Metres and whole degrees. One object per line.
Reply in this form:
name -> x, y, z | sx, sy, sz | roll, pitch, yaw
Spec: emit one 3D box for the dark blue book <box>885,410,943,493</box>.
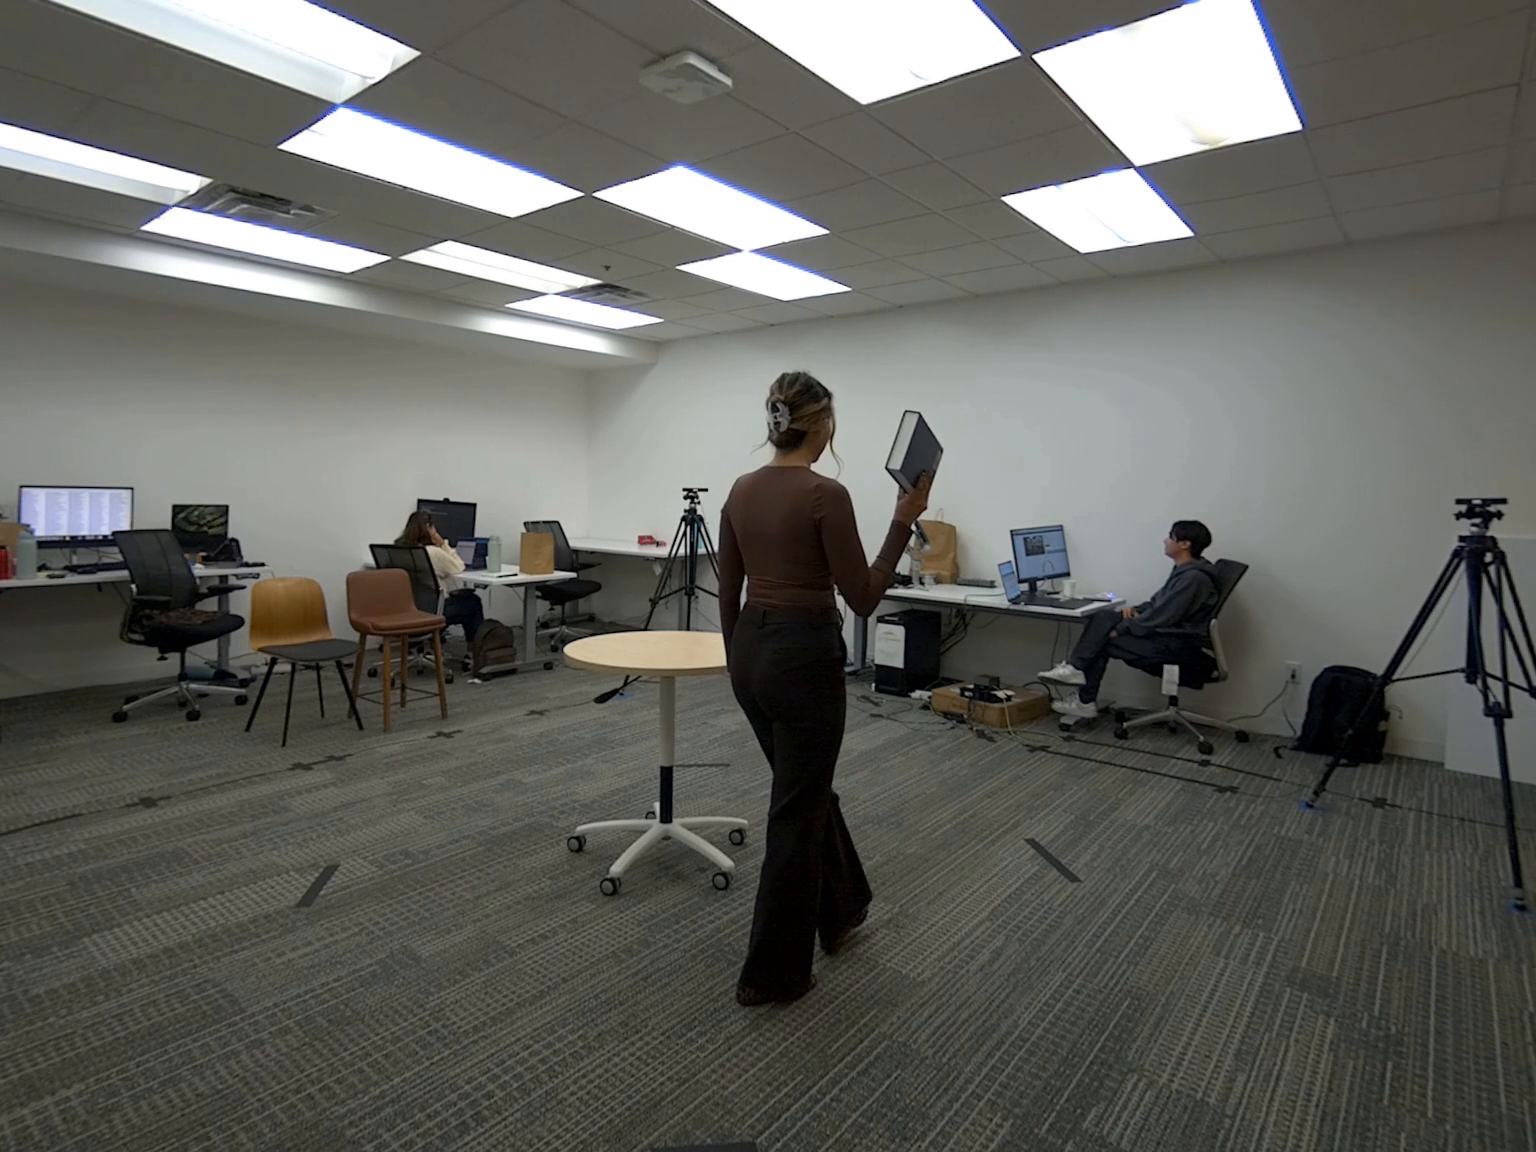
dark blue book -> 0.377, -0.311, 2.228 | 0.046, 0.164, 0.236 | 14, -10, 28
